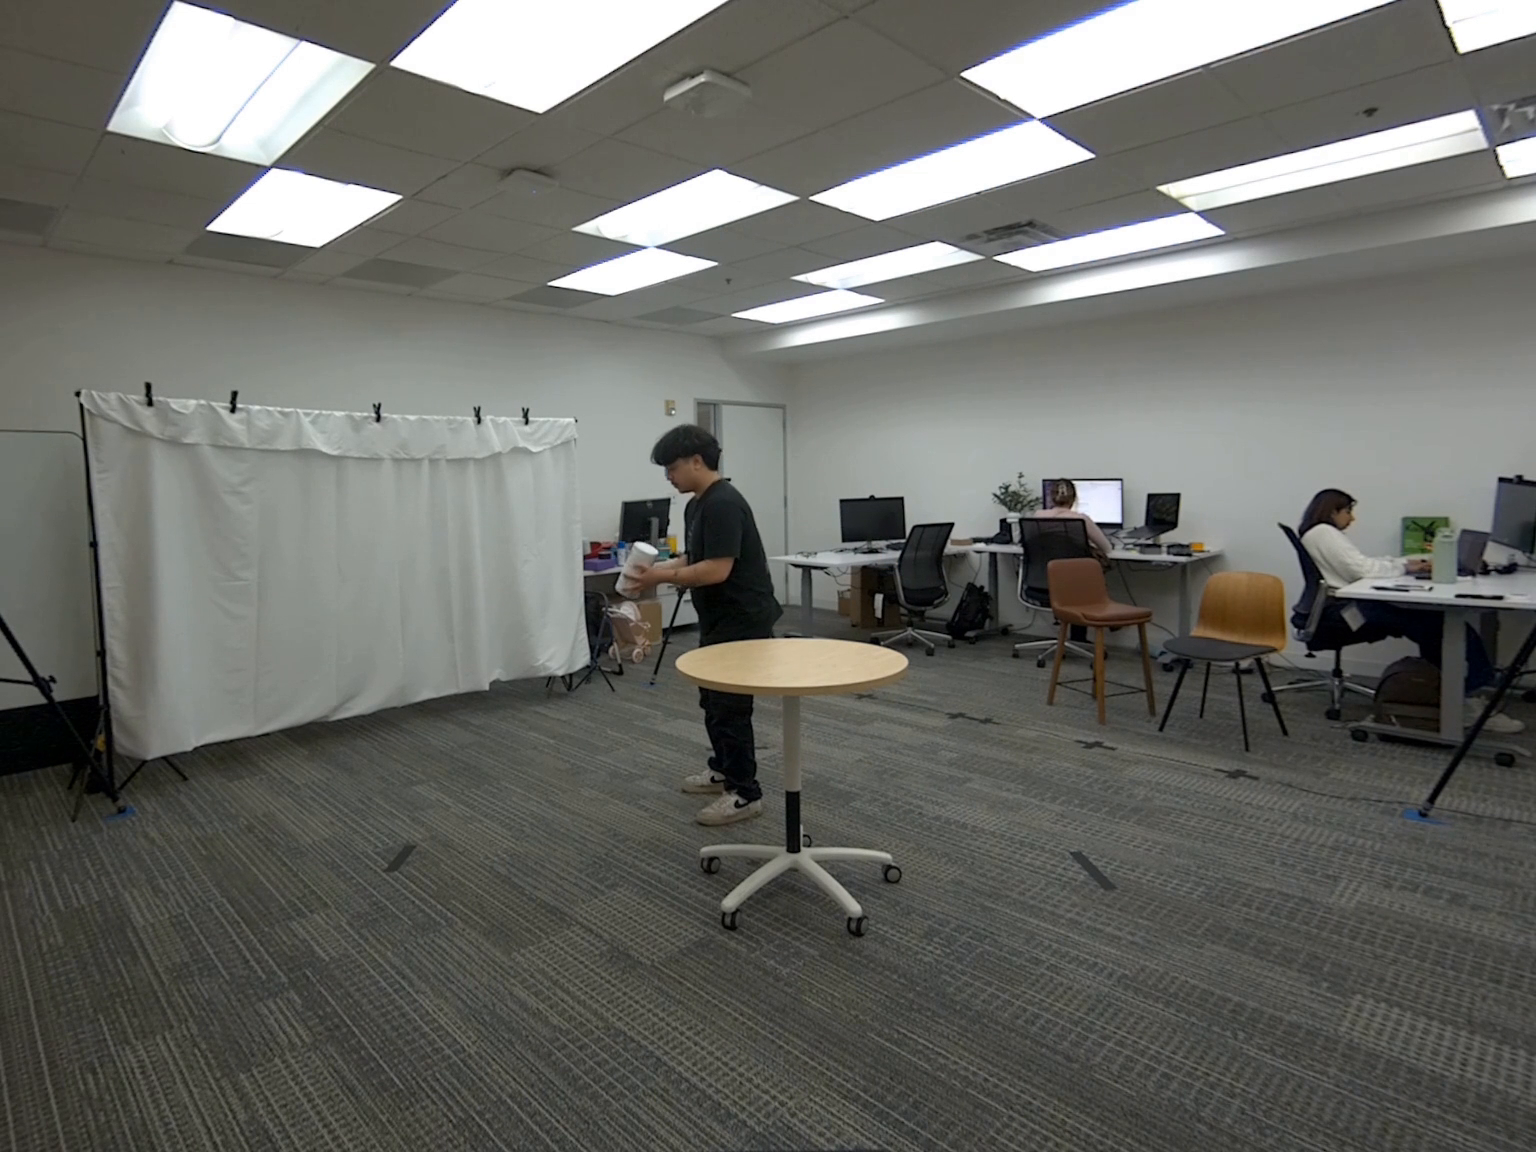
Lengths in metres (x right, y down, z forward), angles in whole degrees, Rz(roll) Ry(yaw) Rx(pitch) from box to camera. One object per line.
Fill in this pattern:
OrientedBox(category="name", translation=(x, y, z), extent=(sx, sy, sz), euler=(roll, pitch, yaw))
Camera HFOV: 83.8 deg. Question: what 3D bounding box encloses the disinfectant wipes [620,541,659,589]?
OrientedBox(category="disinfectant wipes", translation=(-0.541, -0.023, 3.537), extent=(0.117, 0.216, 0.120), euler=(23, 15, -8))
